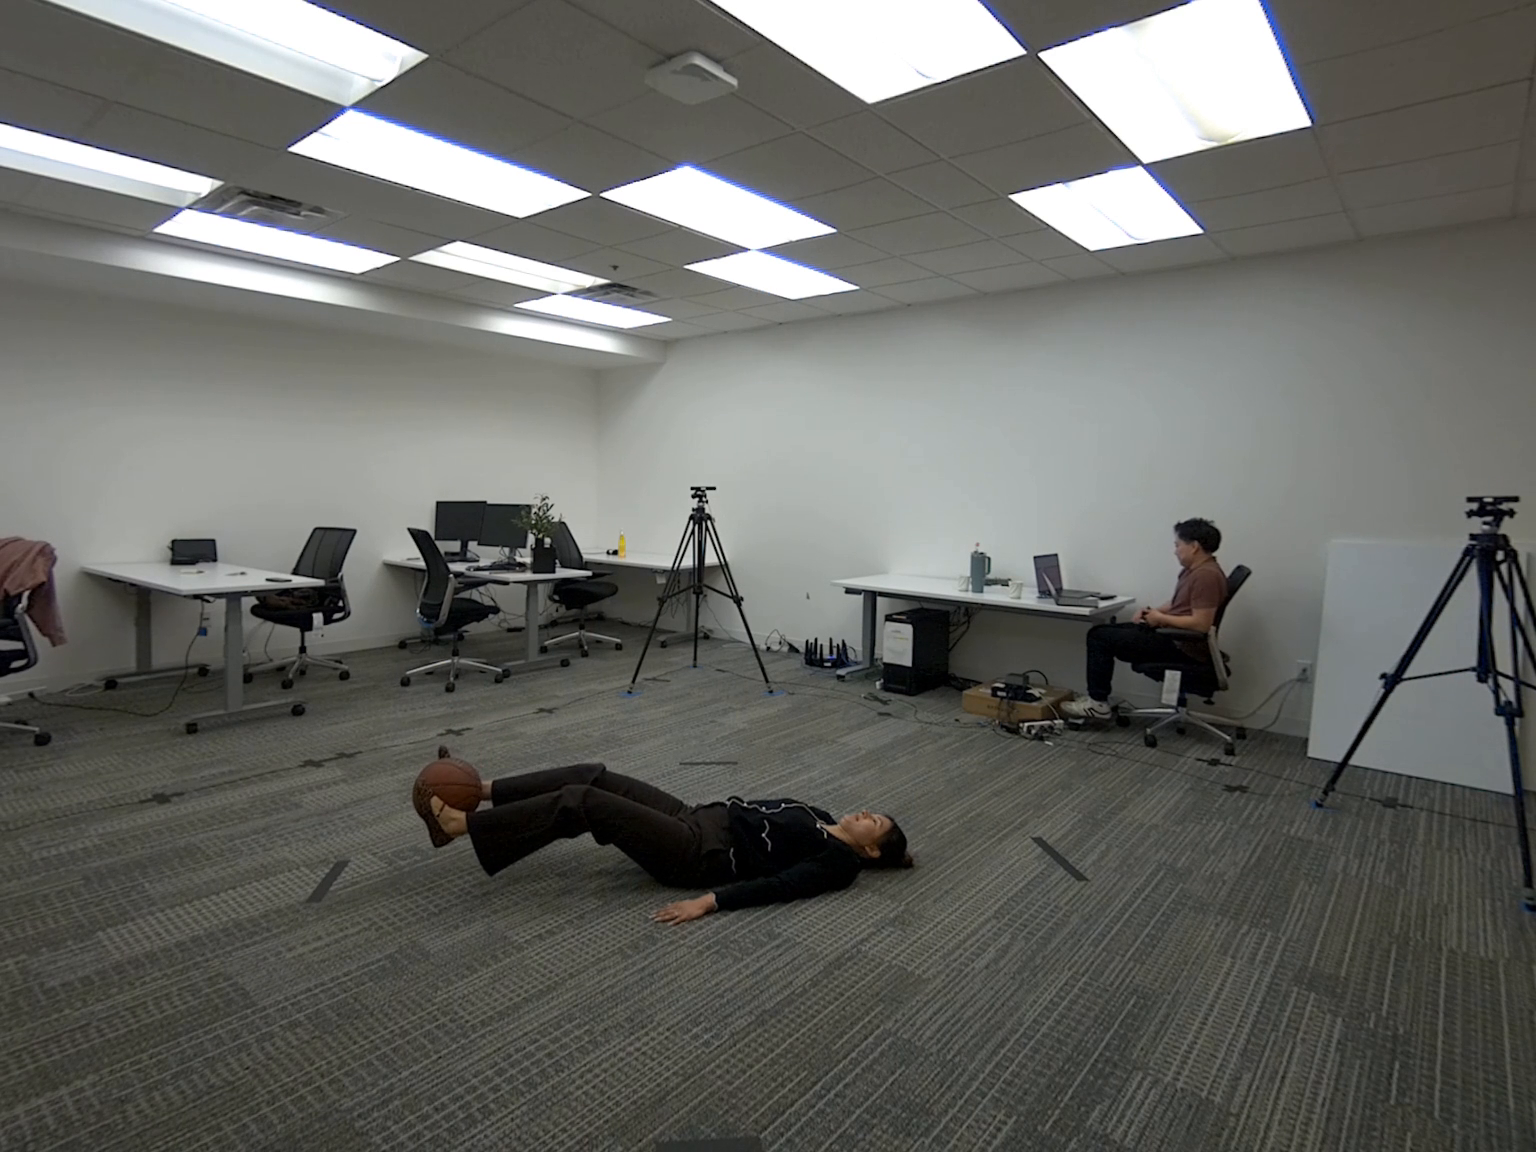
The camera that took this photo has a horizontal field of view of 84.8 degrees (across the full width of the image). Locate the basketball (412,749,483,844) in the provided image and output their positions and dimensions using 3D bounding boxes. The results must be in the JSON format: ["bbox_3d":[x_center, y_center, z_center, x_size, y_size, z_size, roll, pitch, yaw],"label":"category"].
[{"bbox_3d":[-1.145,0.759,2.995,0.236,0.234,0.238,0,7,-2],"label":"basketball"}]
